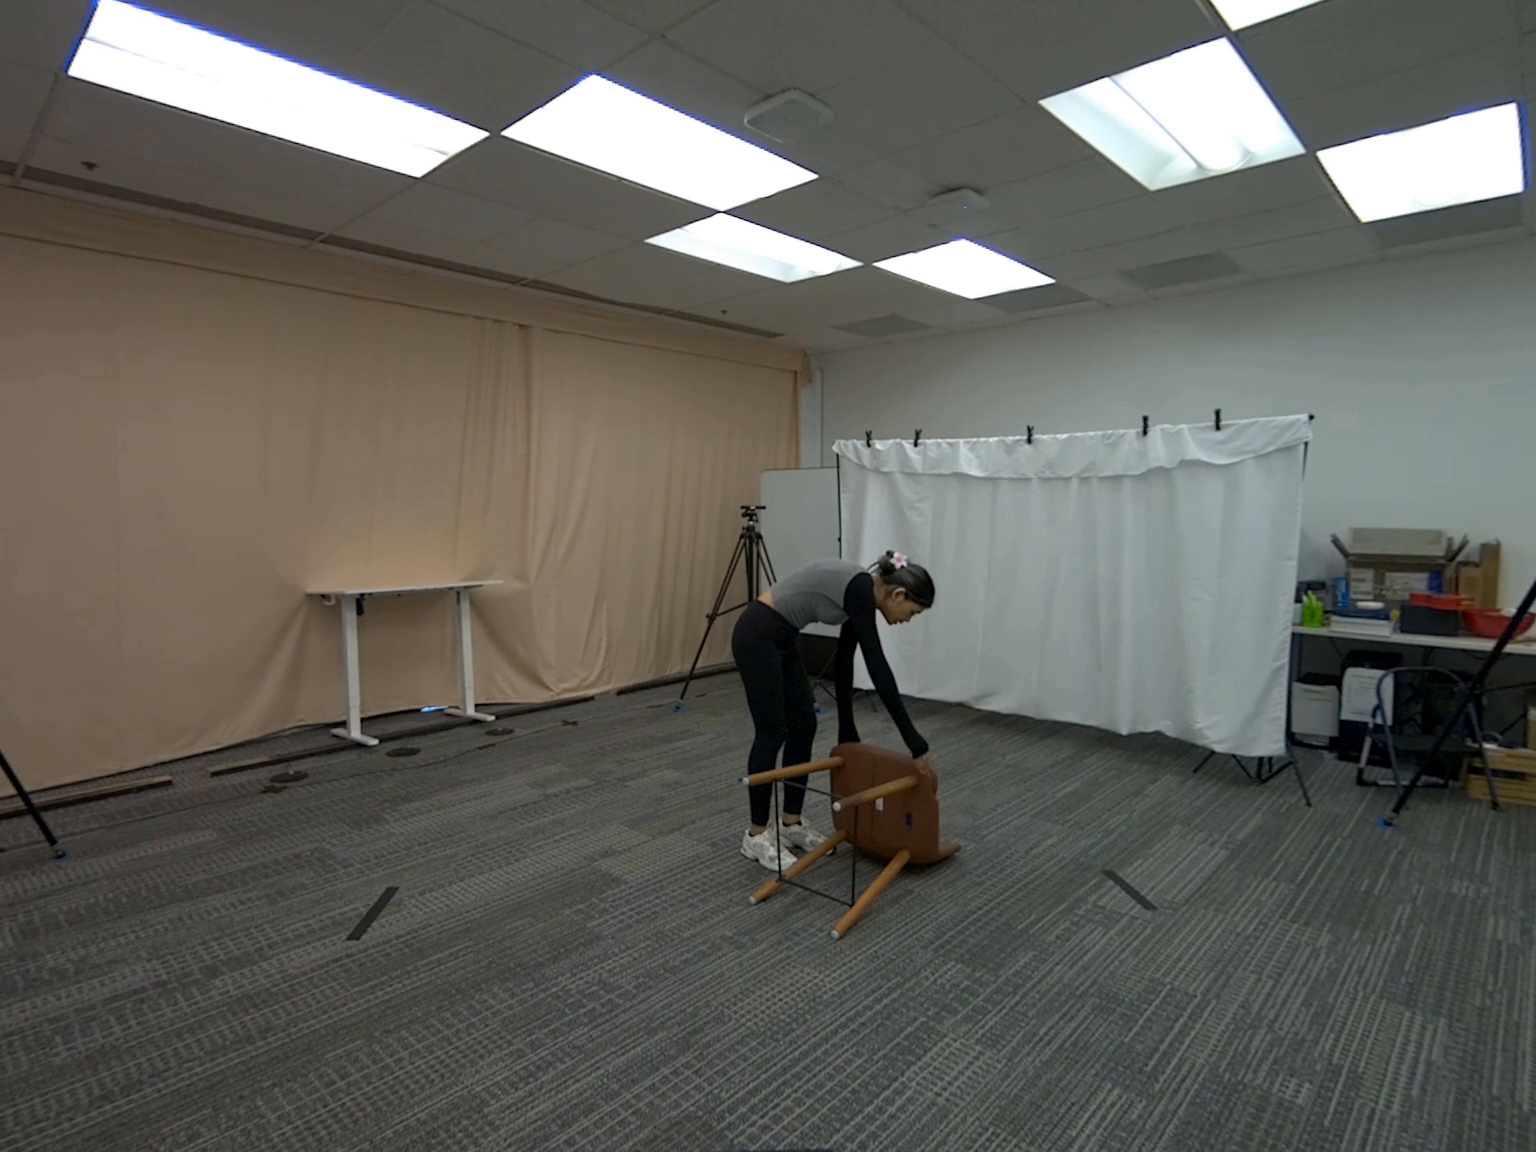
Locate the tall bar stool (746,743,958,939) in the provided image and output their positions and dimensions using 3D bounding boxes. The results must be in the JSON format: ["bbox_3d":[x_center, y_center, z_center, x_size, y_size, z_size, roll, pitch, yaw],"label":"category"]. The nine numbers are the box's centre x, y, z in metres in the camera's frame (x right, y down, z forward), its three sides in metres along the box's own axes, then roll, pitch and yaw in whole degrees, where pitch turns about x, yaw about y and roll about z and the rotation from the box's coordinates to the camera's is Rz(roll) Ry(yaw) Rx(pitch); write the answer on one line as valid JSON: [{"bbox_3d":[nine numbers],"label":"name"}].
[{"bbox_3d":[0.353,0.902,3.122,0.471,0.467,0.863,2,5,41],"label":"tall bar stool"}]
